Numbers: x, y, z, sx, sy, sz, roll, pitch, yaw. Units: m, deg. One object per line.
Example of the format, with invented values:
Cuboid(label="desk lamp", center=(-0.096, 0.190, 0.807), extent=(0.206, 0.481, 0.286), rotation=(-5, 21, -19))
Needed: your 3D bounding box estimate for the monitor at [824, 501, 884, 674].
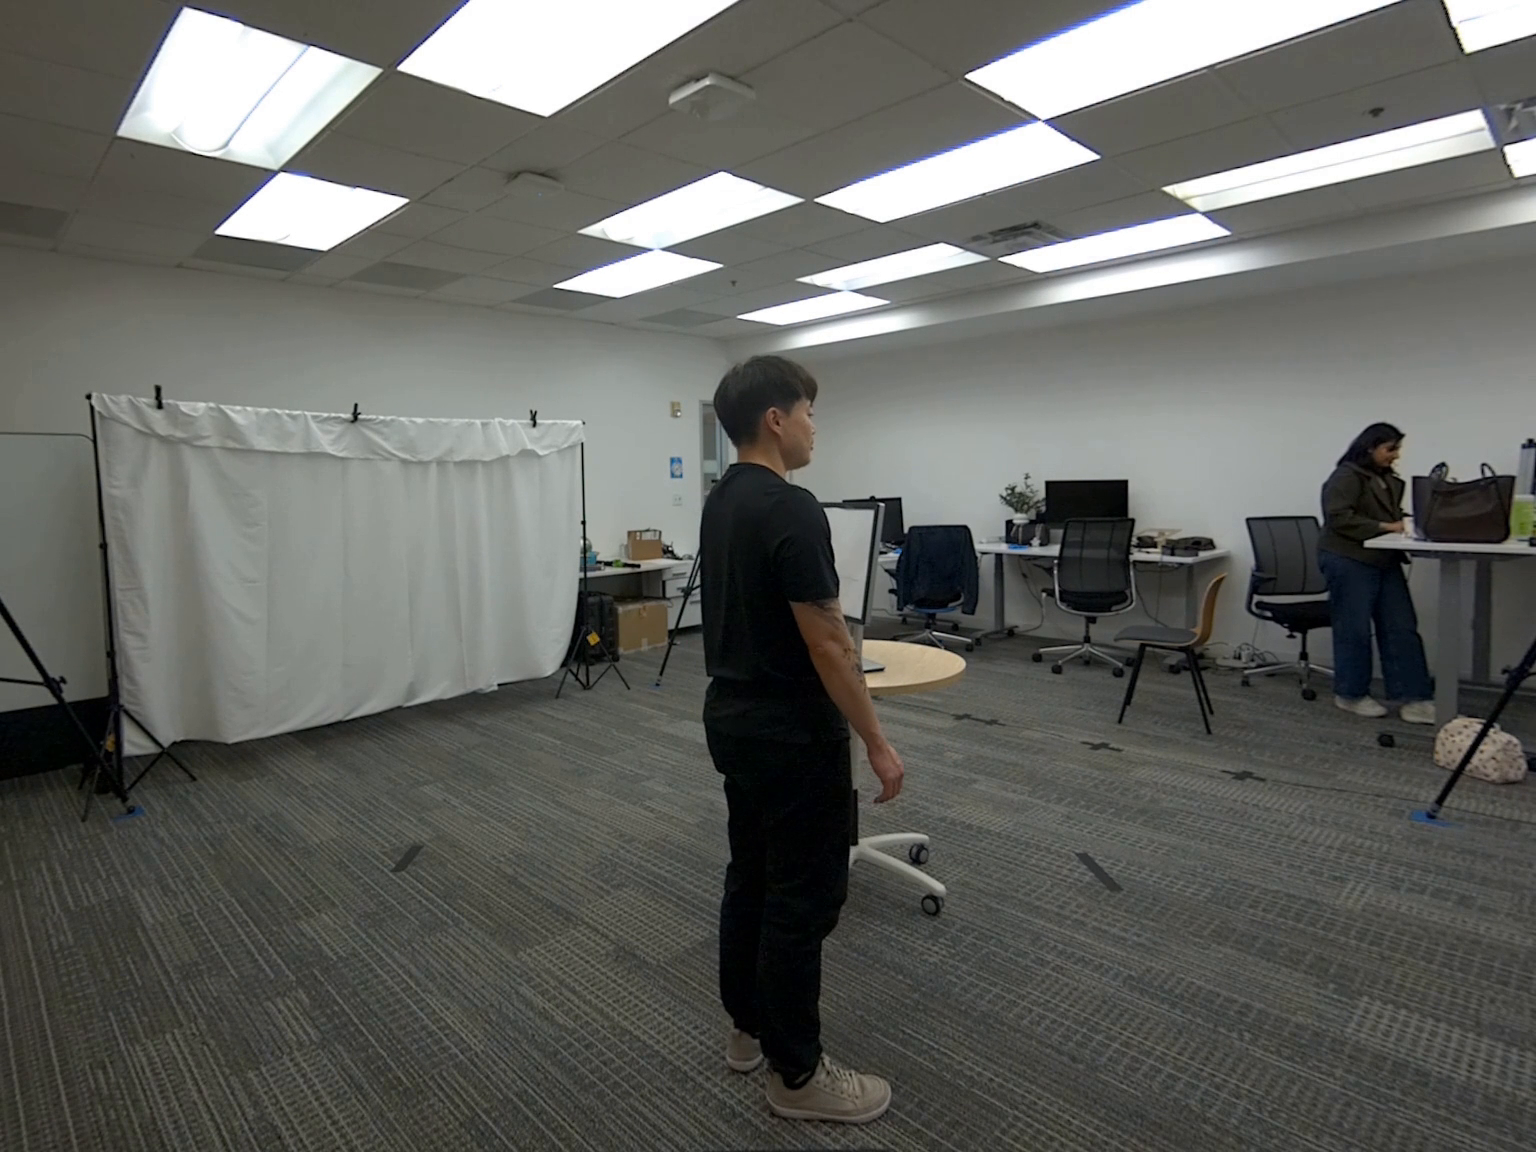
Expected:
Cuboid(label="monitor", center=(0.240, 0.035, 2.787), extent=(0.183, 0.521, 0.551), rotation=(-4, 4, -24))
